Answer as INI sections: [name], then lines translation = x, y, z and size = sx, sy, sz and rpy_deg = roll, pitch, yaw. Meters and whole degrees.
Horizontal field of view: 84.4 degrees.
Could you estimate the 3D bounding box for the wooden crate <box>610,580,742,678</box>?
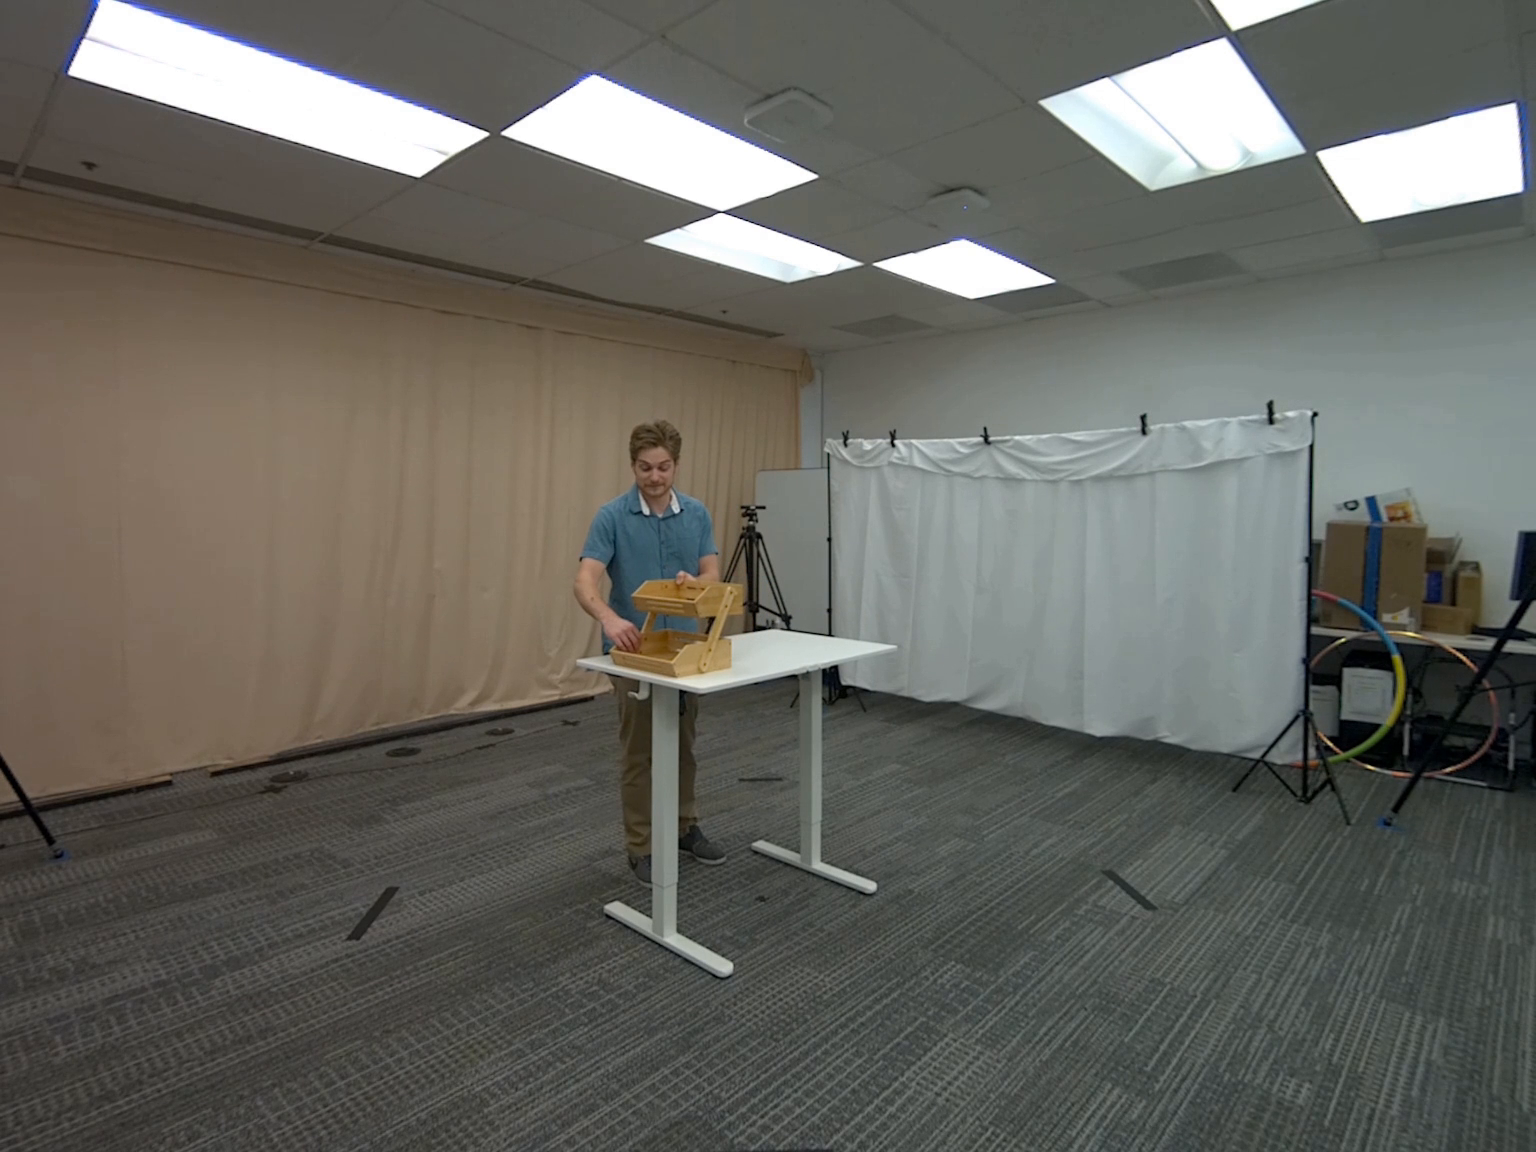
[wooden crate]
translation = -0.288, 0.153, 2.674
size = 0.335, 0.273, 0.292
rpy_deg = 3, 4, 43
